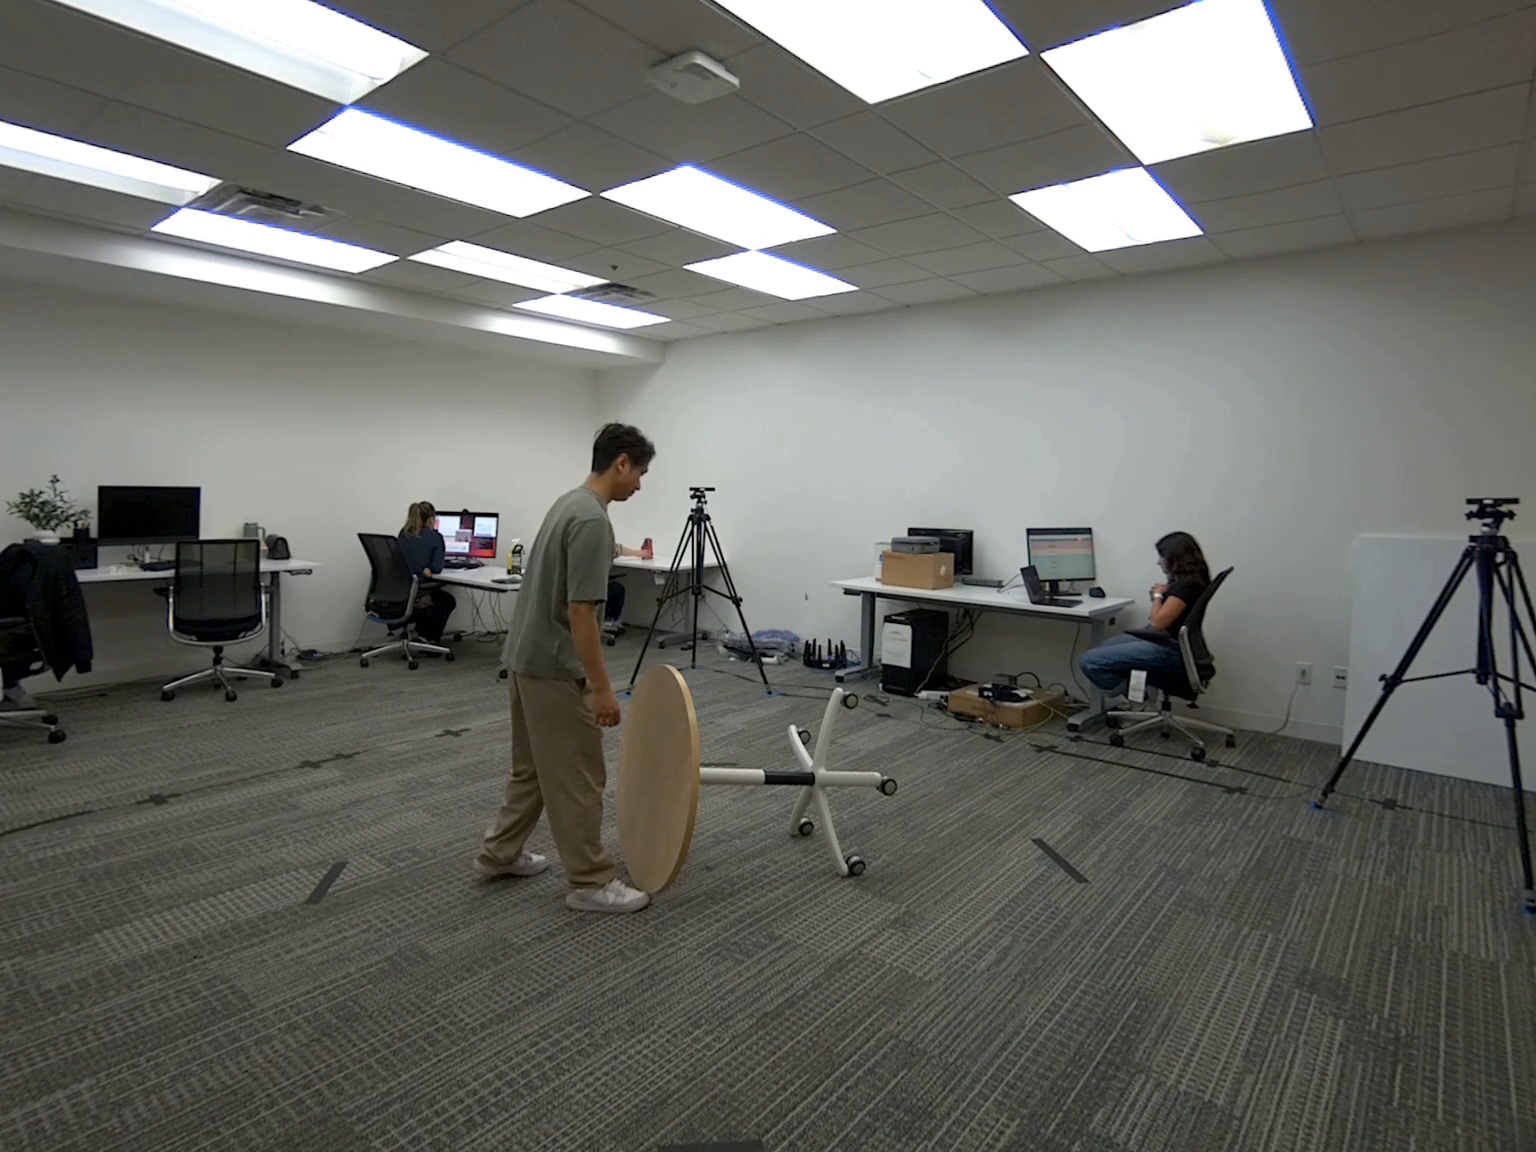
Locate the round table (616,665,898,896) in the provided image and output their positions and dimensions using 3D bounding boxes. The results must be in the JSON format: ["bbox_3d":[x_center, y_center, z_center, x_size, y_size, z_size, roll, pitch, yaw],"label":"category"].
[{"bbox_3d":[-0.066,0.734,3.120,0.767,0.785,0.806,7,1,-24],"label":"round table"}]
